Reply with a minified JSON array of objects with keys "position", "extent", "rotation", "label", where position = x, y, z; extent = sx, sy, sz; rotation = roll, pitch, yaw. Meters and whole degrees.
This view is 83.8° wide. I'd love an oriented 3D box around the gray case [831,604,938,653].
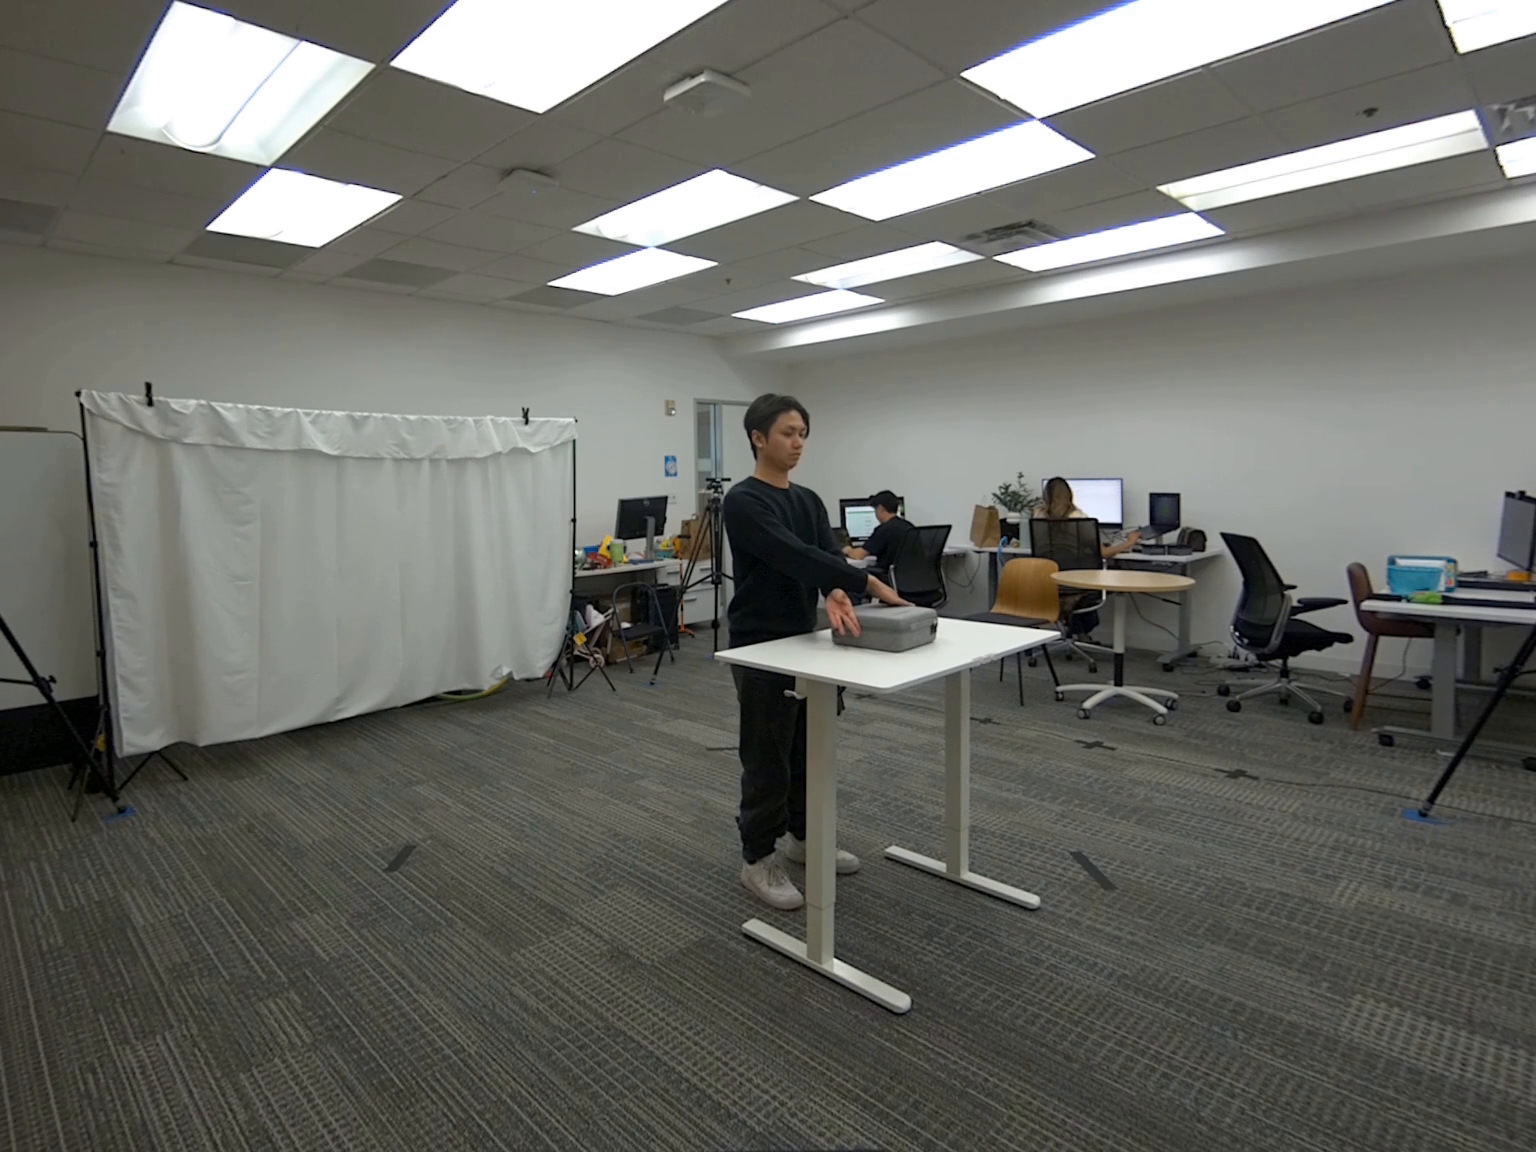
[{"position":[0.359,0.152,2.629],"extent":[0.268,0.104,0.250],"rotation":[4,8,42],"label":"gray case"}]
